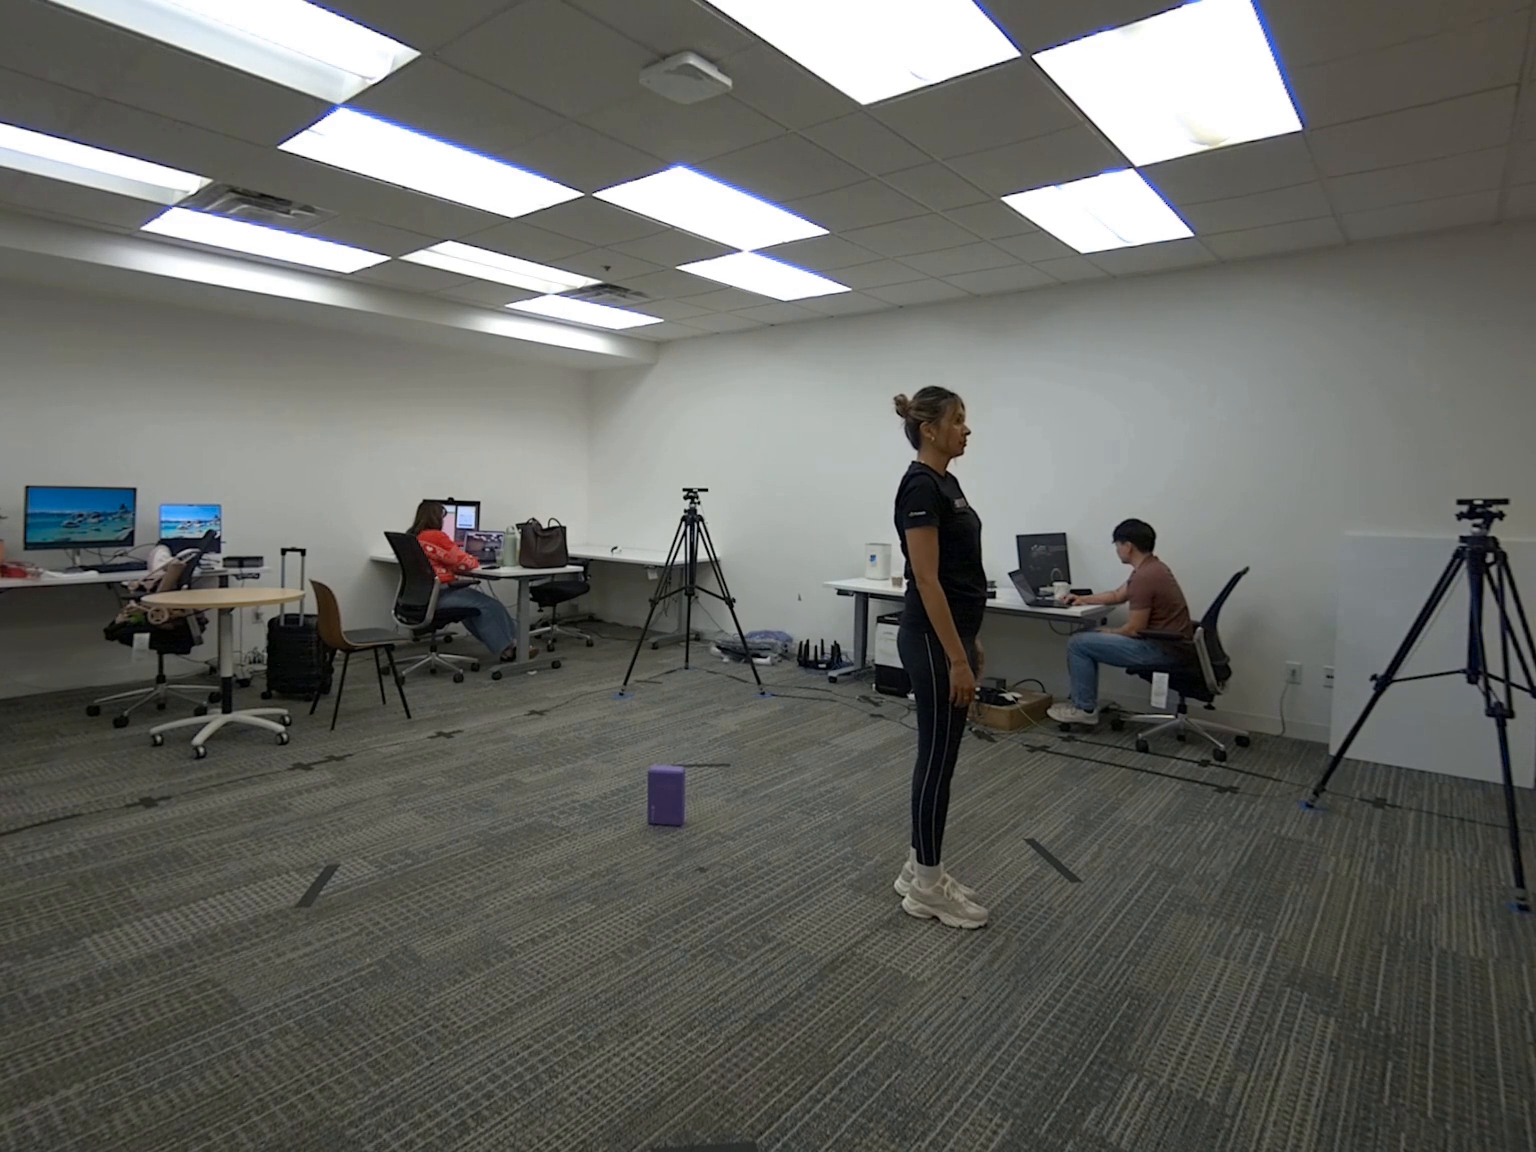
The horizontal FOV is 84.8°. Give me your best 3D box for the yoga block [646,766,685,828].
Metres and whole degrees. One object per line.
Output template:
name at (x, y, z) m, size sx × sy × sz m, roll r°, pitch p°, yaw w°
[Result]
yoga block at (-0.434, 0.911, 3.535) m, size 0.150 × 0.229 × 0.076 m, roll 0°, pitch 3°, yaw 5°
